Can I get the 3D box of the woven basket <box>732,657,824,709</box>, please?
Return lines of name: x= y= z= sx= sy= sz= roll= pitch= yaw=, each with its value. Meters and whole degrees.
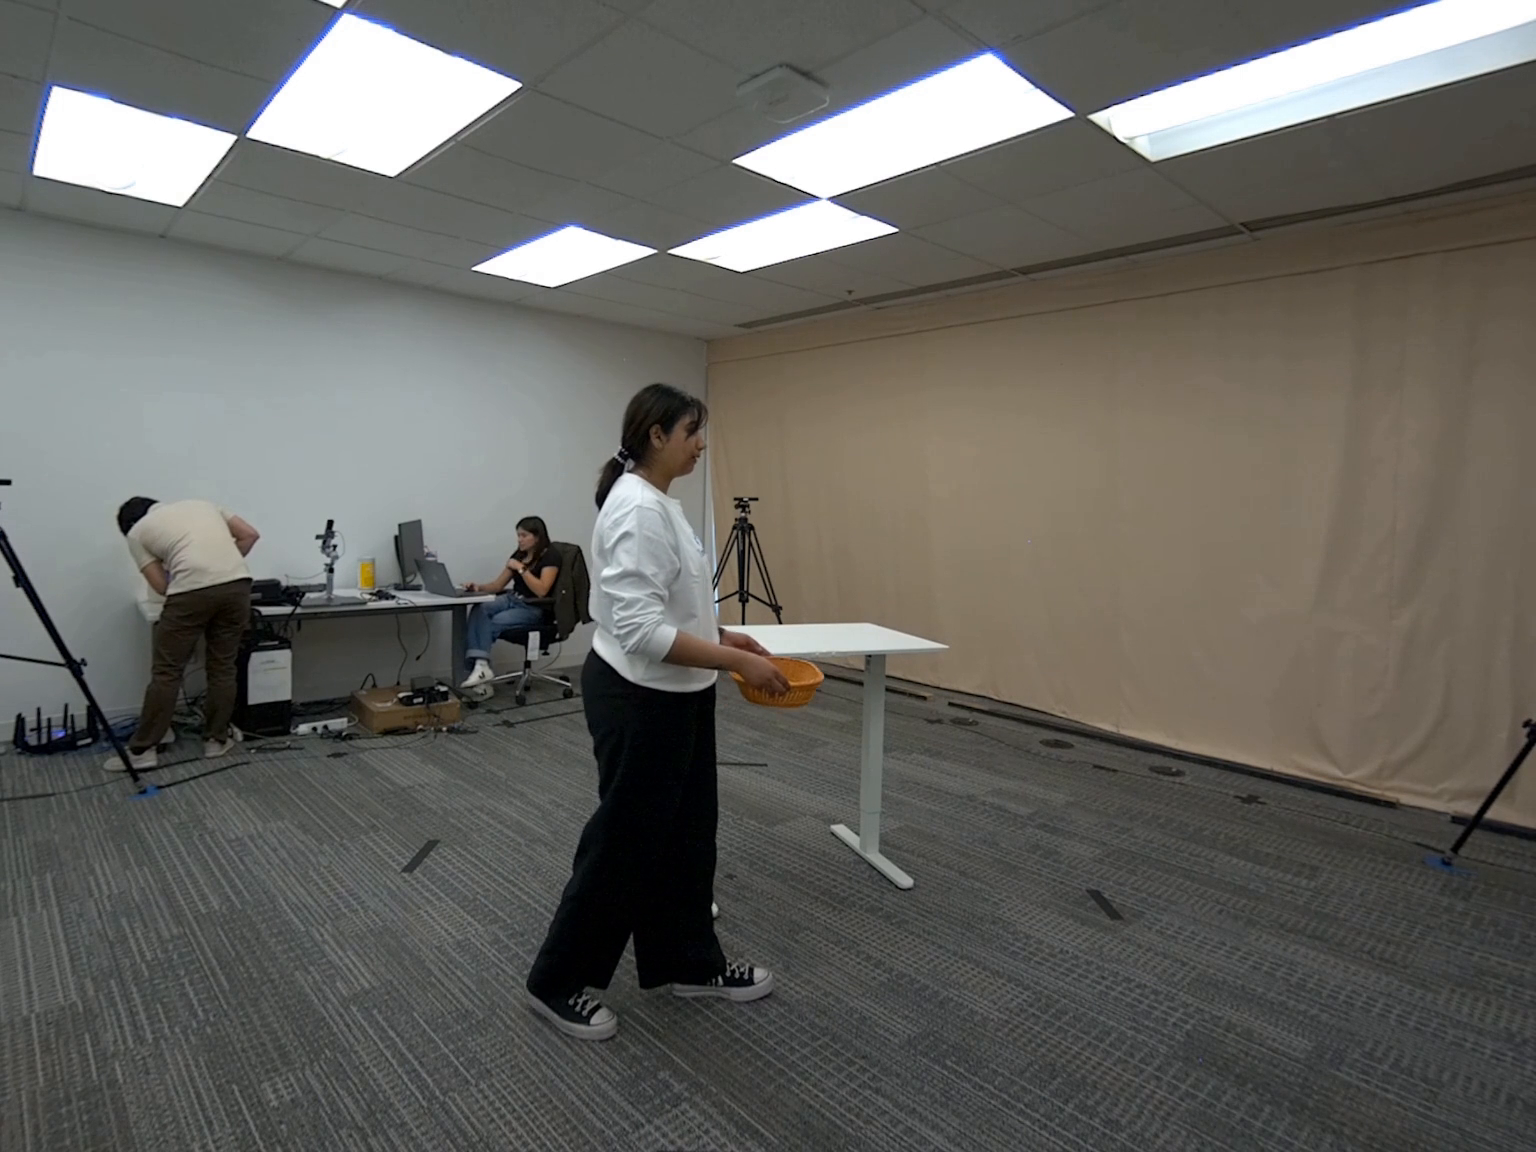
woven basket: x=-0.009 y=0.293 z=2.263 sx=0.249 sy=0.073 sz=0.356 roll=1 pitch=8 yaw=-15
